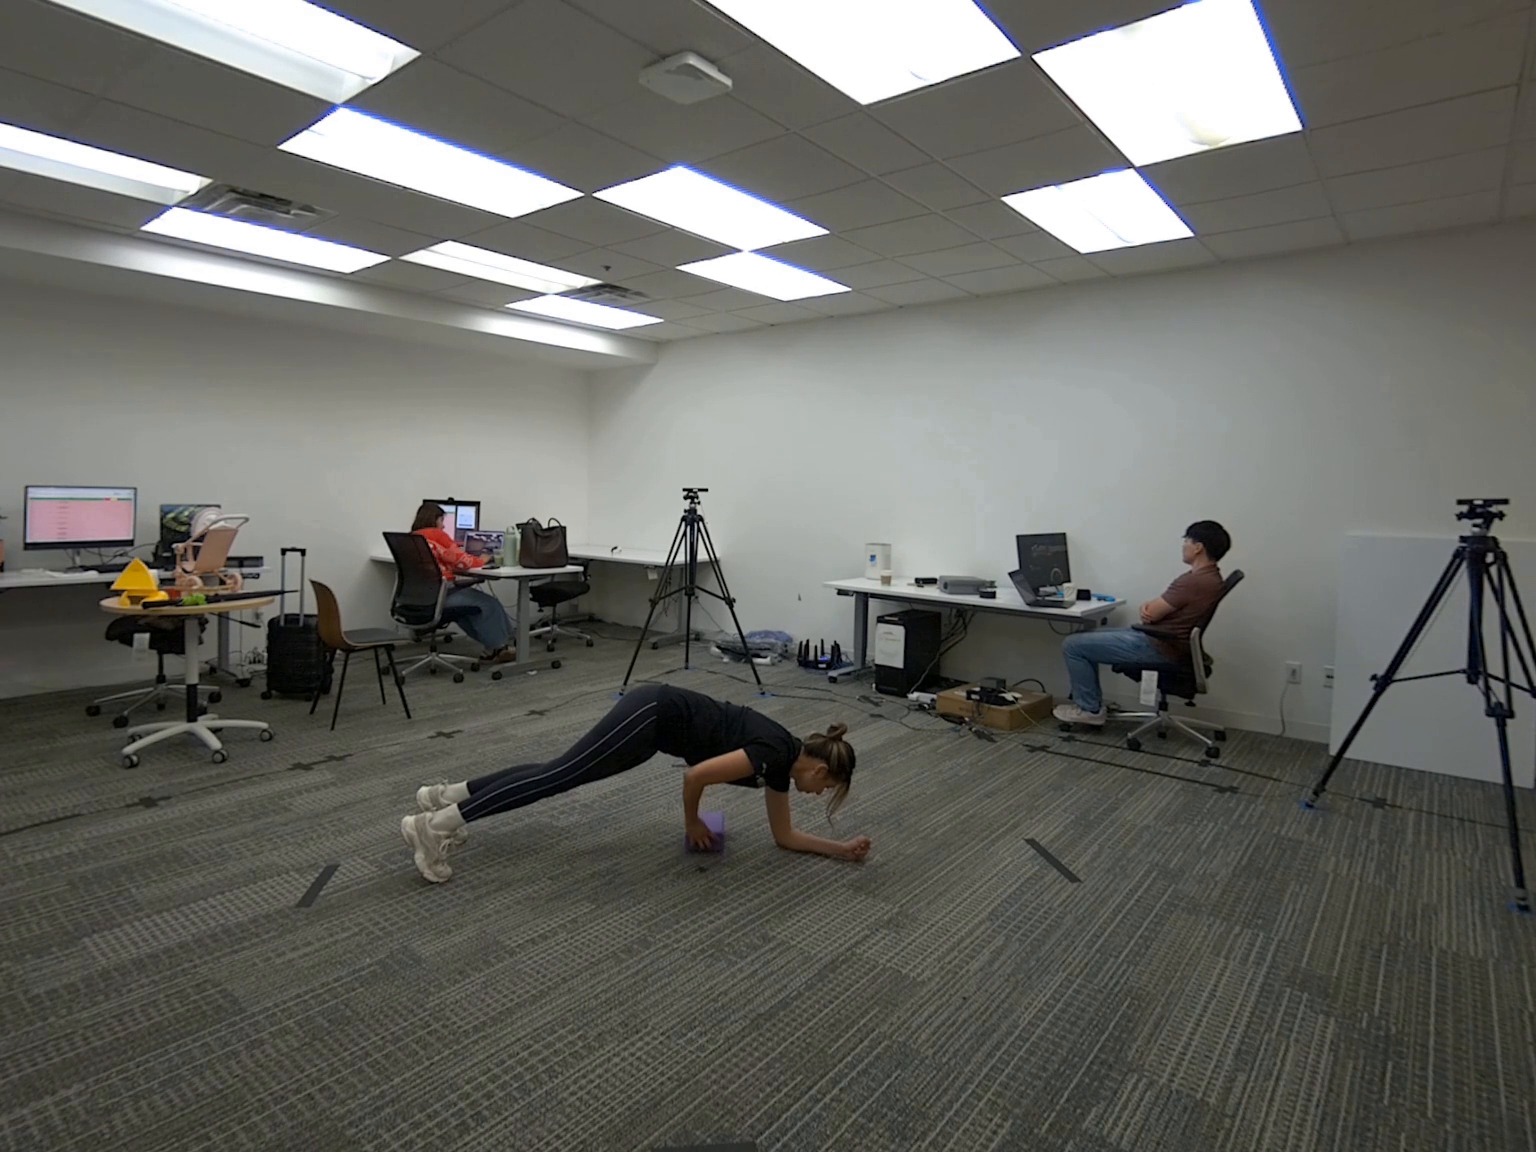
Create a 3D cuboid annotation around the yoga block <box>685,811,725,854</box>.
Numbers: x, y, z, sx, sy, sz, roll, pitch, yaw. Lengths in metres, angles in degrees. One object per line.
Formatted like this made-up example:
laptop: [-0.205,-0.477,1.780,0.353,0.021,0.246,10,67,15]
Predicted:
yoga block: [-0.261,1.011,3.348,0.149,0.076,0.230,0,6,0]
